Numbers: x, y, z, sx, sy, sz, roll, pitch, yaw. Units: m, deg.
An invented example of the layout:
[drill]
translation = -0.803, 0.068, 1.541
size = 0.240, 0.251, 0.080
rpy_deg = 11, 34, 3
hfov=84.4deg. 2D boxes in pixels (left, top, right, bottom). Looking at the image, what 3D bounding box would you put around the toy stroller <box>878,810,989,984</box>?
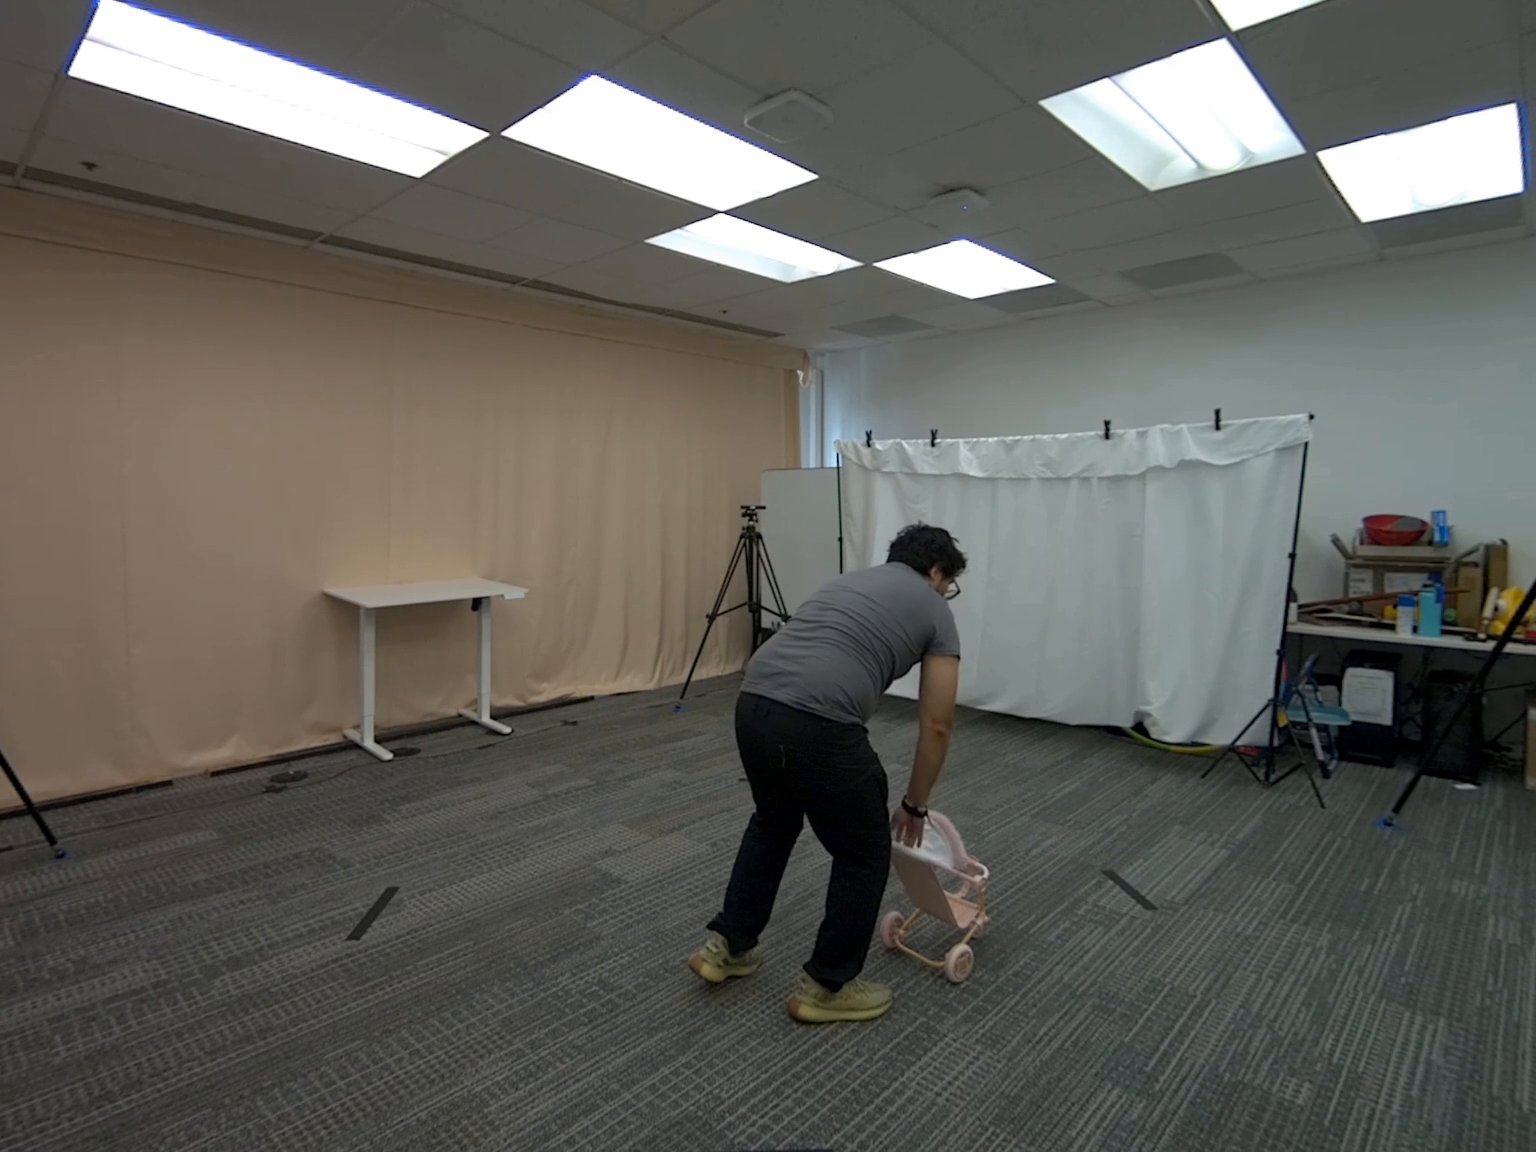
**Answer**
[toy stroller]
translation = 0.525, 0.954, 2.581
size = 0.334, 0.529, 0.290
rpy_deg = -22, 16, -33
